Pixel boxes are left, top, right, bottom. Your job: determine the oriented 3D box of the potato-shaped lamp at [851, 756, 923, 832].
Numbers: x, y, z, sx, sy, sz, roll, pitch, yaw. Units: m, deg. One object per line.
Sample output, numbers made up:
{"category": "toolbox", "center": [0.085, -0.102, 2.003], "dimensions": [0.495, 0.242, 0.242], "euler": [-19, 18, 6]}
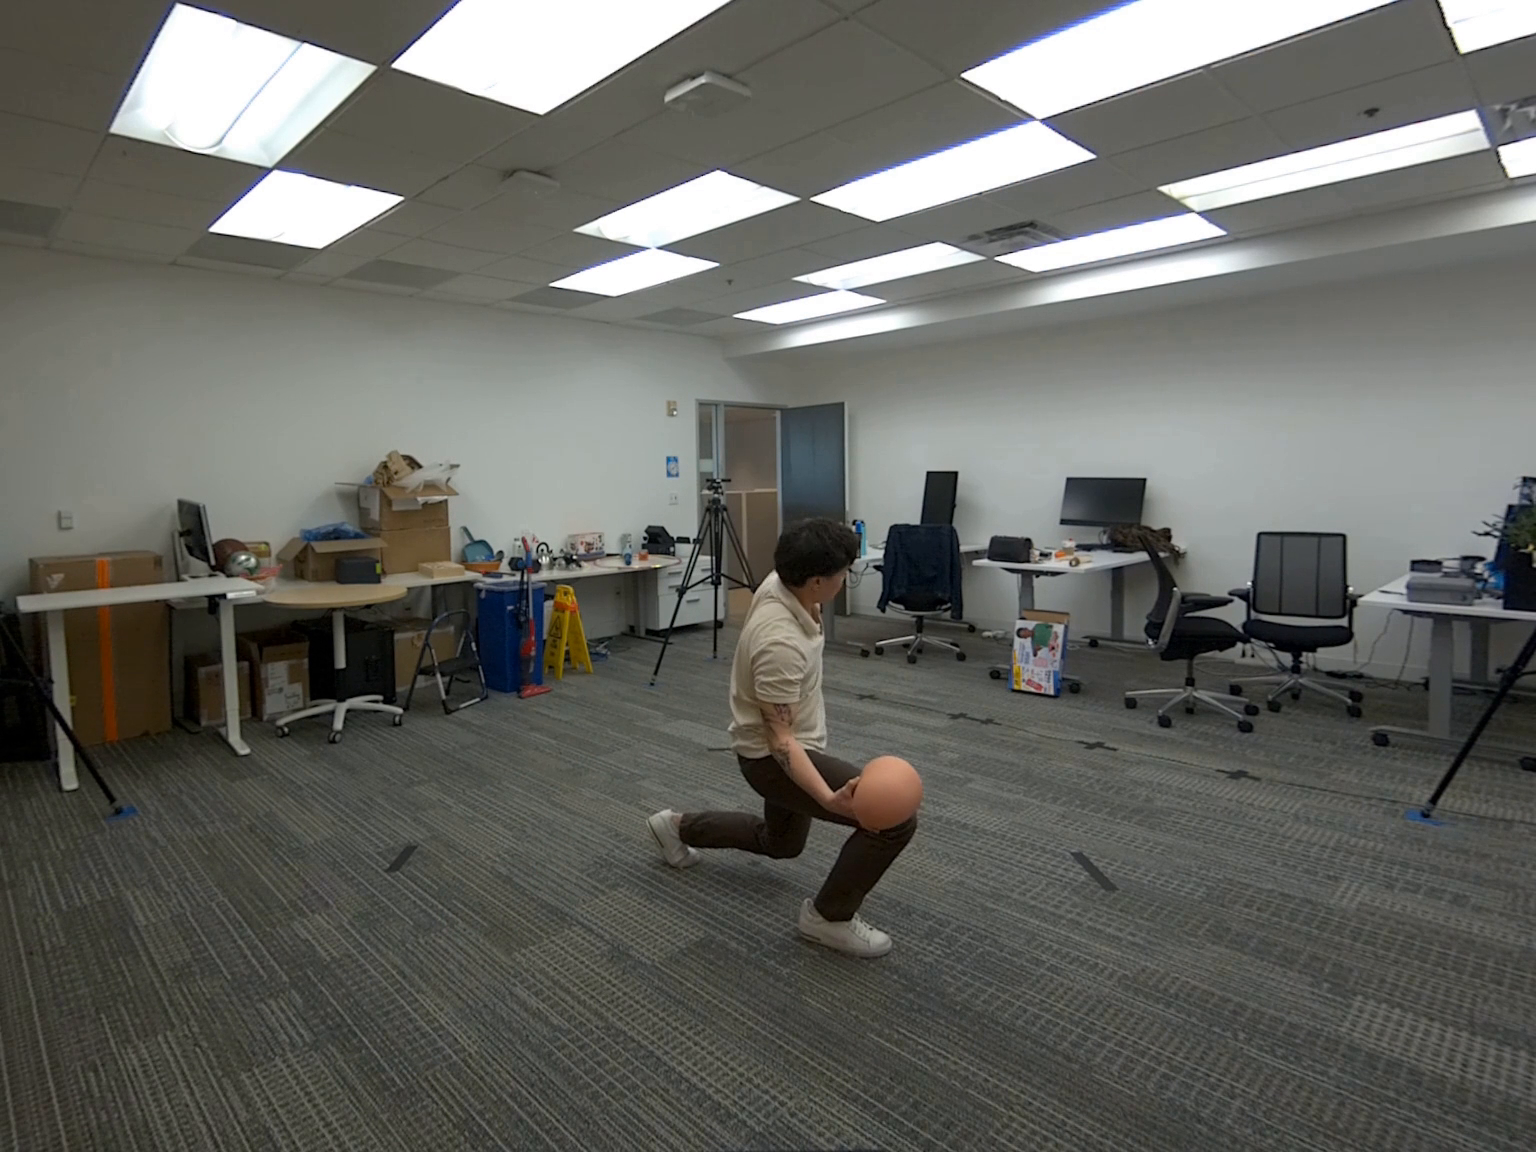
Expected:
{"category": "potato-shaped lamp", "center": [0.306, 0.565, 2.188], "dimensions": [0.172, 0.167, 0.195], "euler": [-40, -9, 35]}
